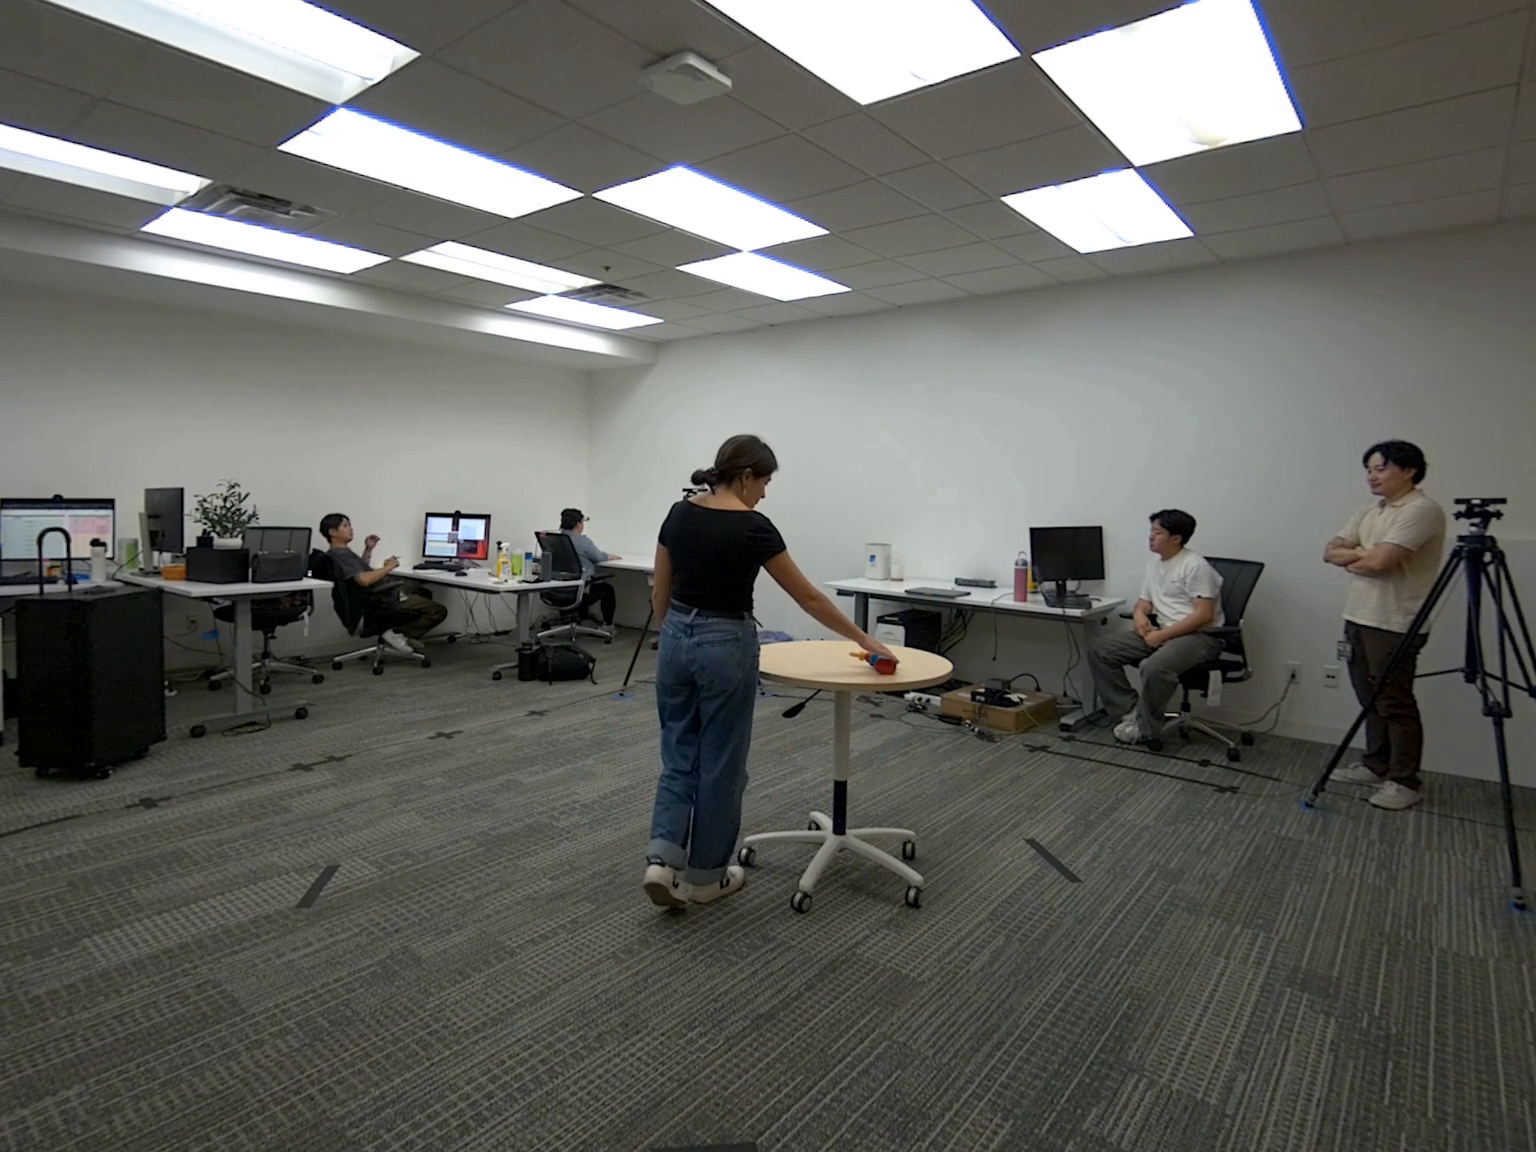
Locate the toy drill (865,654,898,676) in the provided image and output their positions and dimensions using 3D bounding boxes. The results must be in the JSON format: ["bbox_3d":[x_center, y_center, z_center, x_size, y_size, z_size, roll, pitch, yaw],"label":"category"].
[{"bbox_3d":[0.365,0.284,2.912,0.171,0.061,0.146,12,8,5],"label":"toy drill"}]
